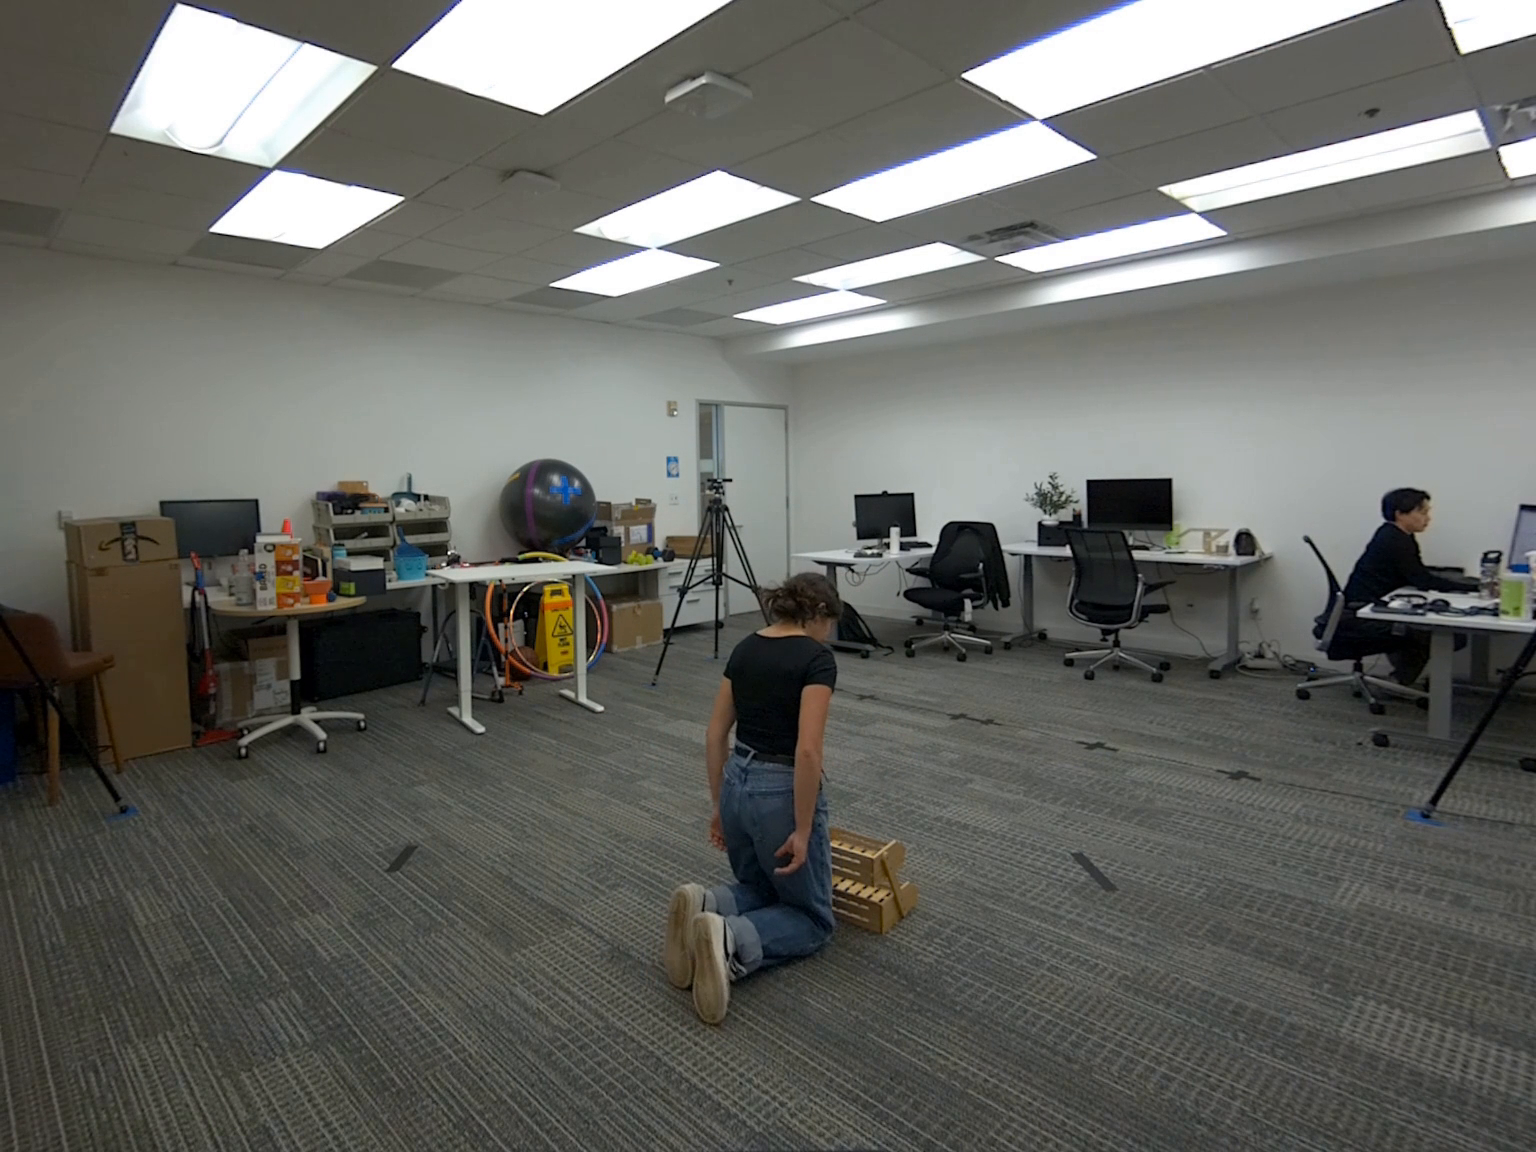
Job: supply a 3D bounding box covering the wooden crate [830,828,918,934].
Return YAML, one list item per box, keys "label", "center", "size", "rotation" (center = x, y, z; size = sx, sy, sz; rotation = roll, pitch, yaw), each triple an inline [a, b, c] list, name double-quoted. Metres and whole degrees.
- label: "wooden crate"
  center: [0.292, 0.946, 2.772]
  size: [0.334, 0.272, 0.295]
  rotation: [3, 7, 36]
